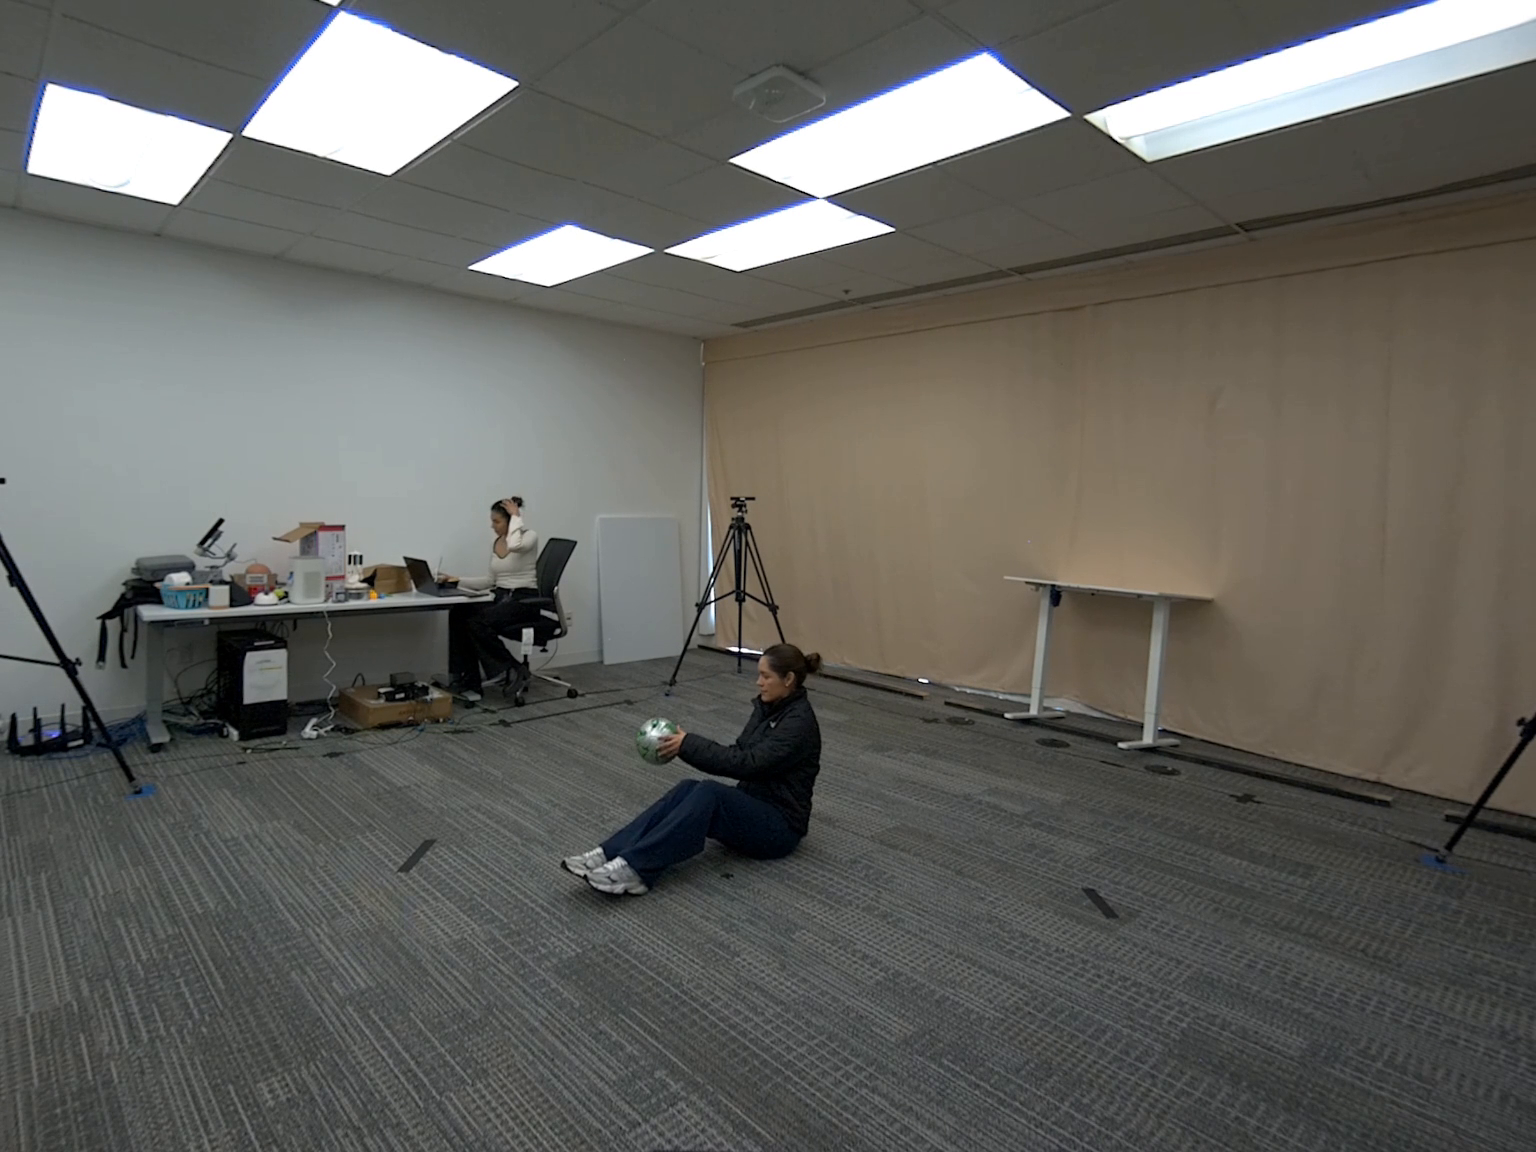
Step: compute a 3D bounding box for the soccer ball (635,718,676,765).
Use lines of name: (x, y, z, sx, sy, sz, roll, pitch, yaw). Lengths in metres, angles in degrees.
soccer ball: (-0.440, 0.675, 3.426, 0.187, 0.186, 0.188, 0, 7, -1)
